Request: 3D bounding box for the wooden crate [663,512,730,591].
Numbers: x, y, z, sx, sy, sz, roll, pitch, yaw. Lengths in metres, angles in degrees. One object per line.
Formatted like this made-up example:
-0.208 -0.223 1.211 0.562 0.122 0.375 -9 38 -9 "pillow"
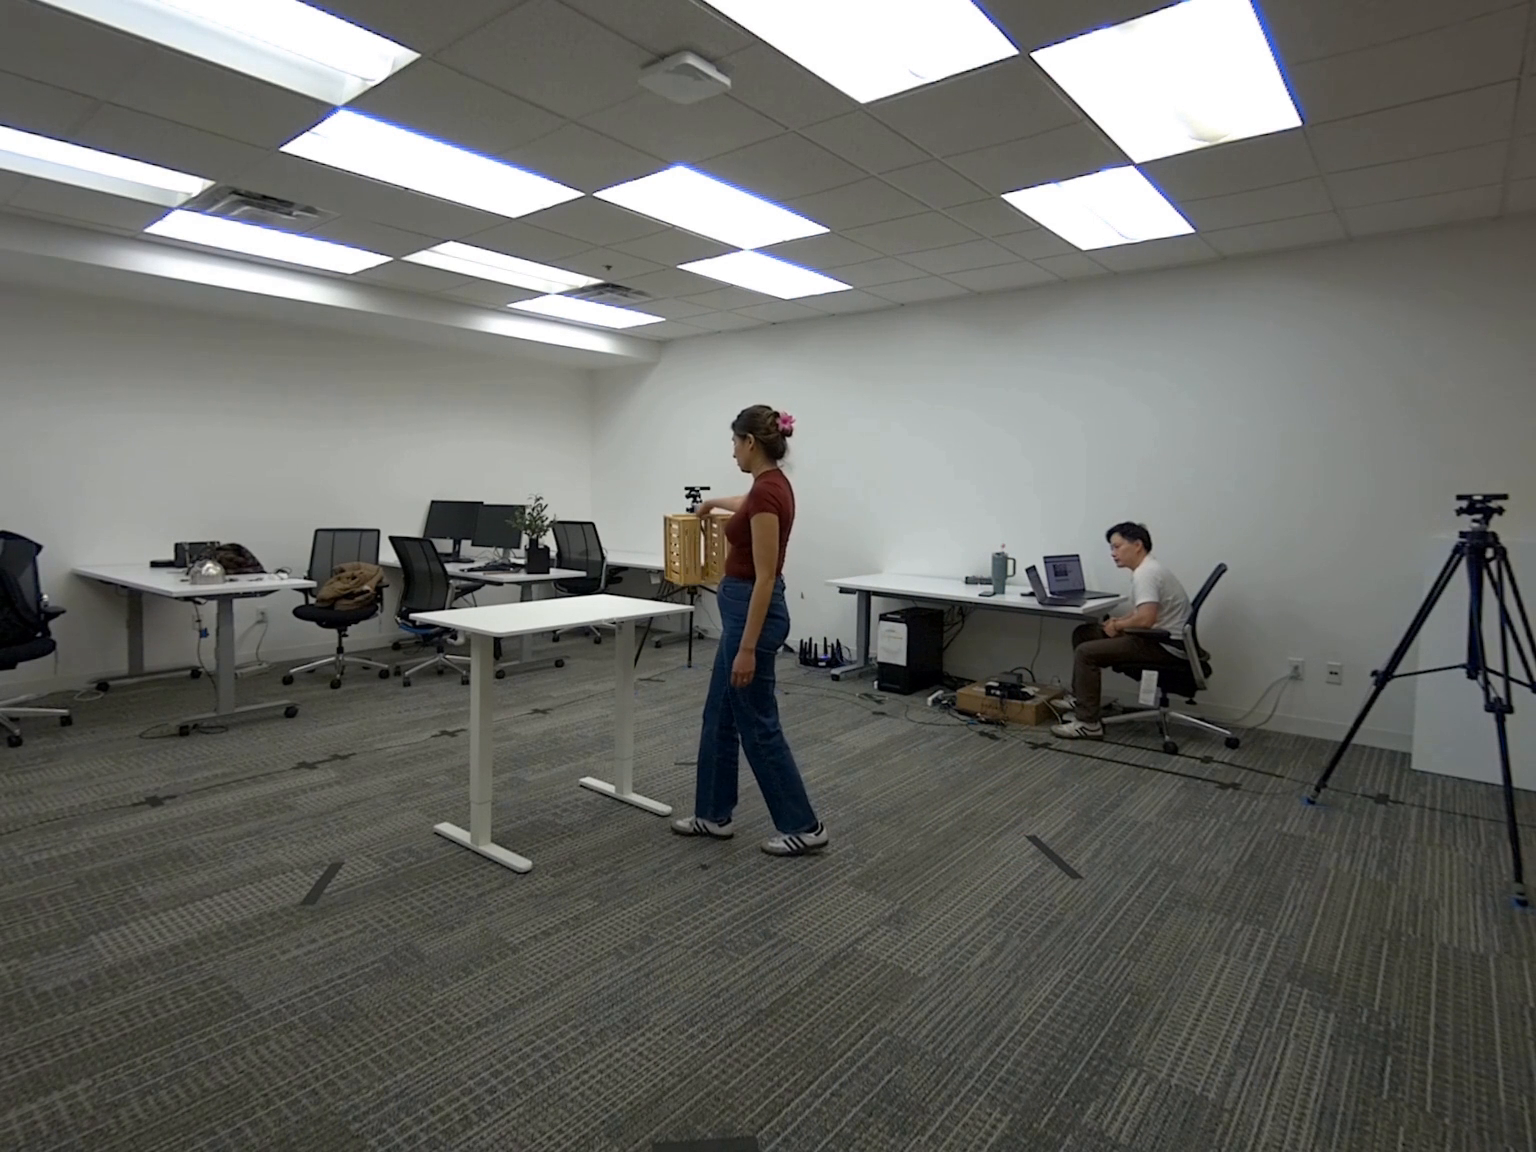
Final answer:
-0.328 -0.128 3.946 0.267 0.322 0.311 -5 10 -25 "wooden crate"
